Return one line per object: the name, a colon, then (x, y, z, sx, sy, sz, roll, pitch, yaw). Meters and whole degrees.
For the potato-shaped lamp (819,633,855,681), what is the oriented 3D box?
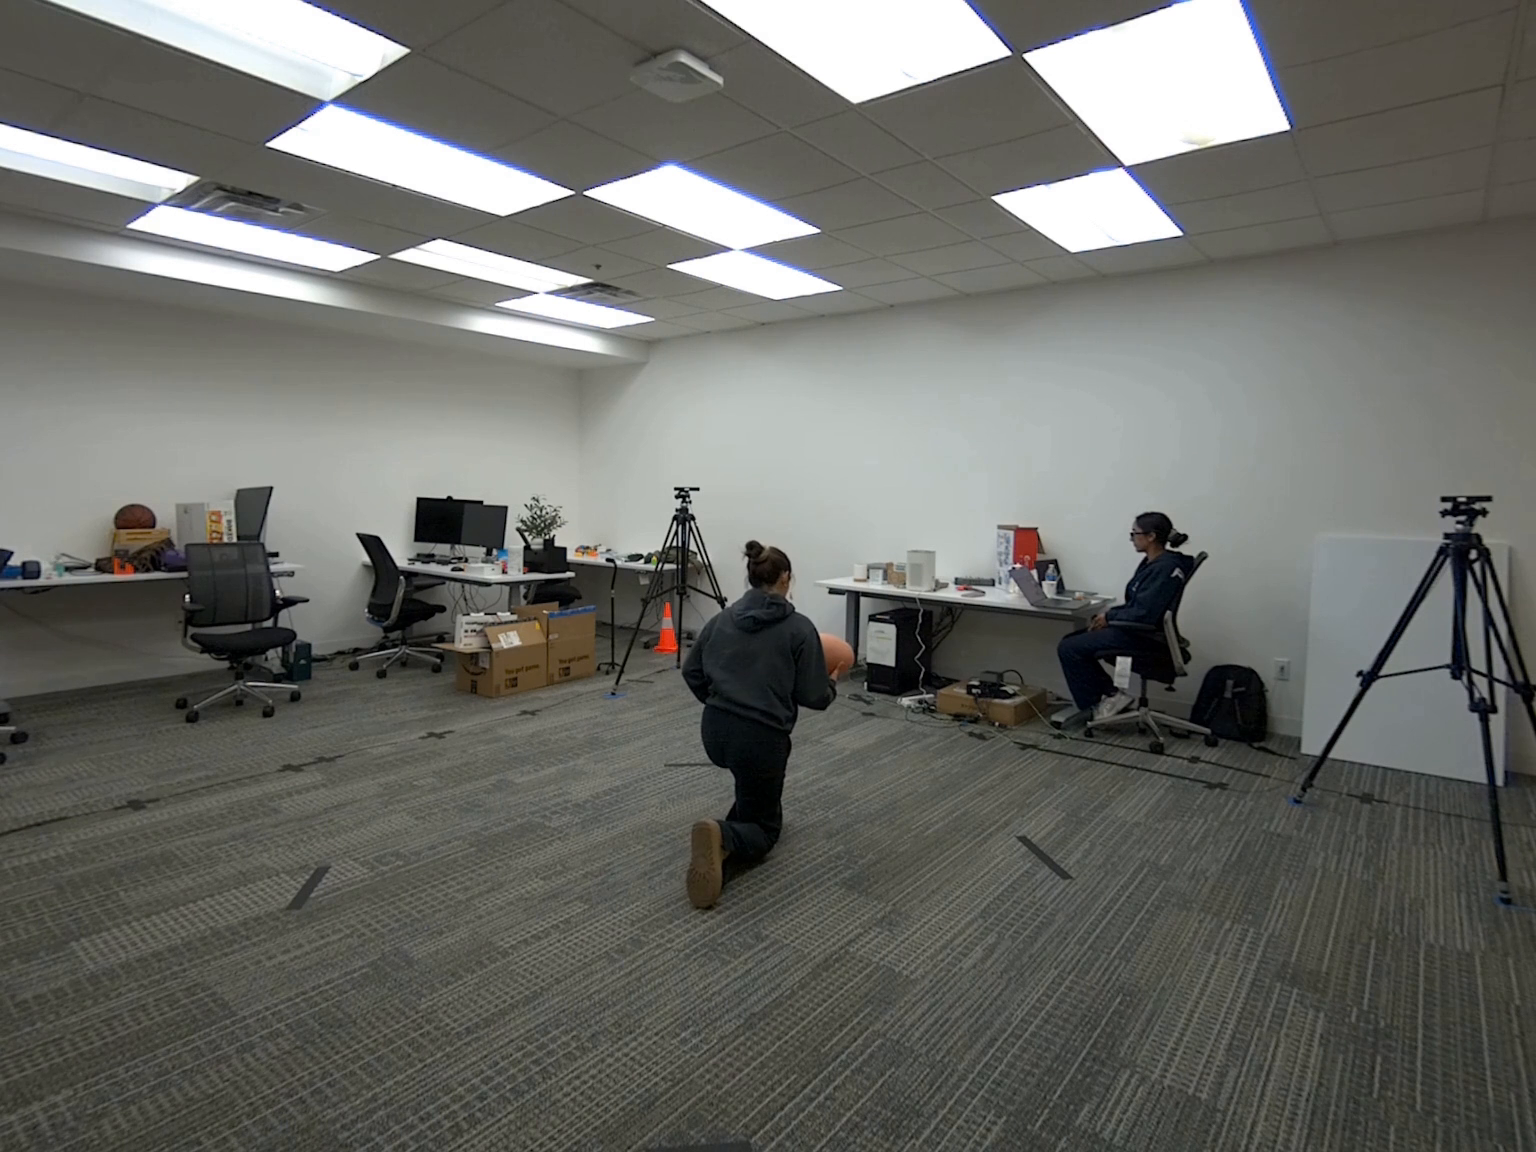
potato-shaped lamp: (0.259, 0.324, 3.519, 0.193, 0.169, 0.171, 23, -48, -22)
